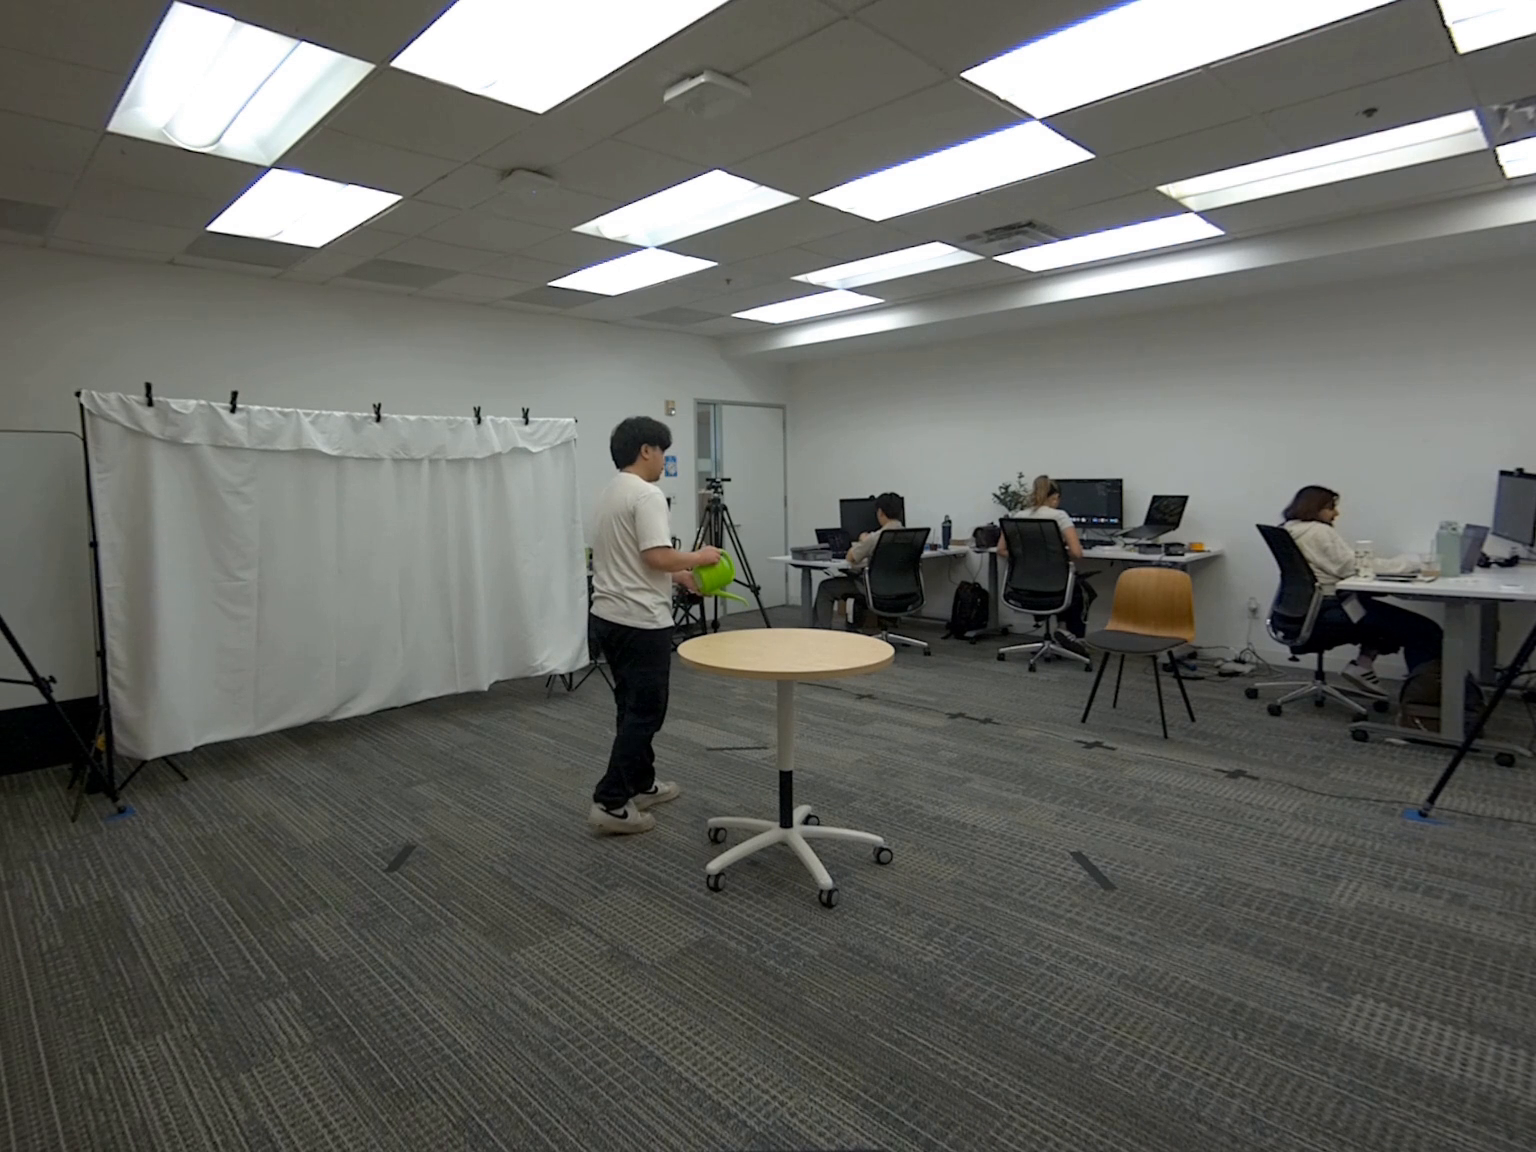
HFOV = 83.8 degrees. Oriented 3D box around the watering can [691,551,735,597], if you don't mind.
[{"bbox_3d":[-0.204,0.029,3.607,0.175,0.281,0.098,-24,-9,-24],"label":"watering can"}]
